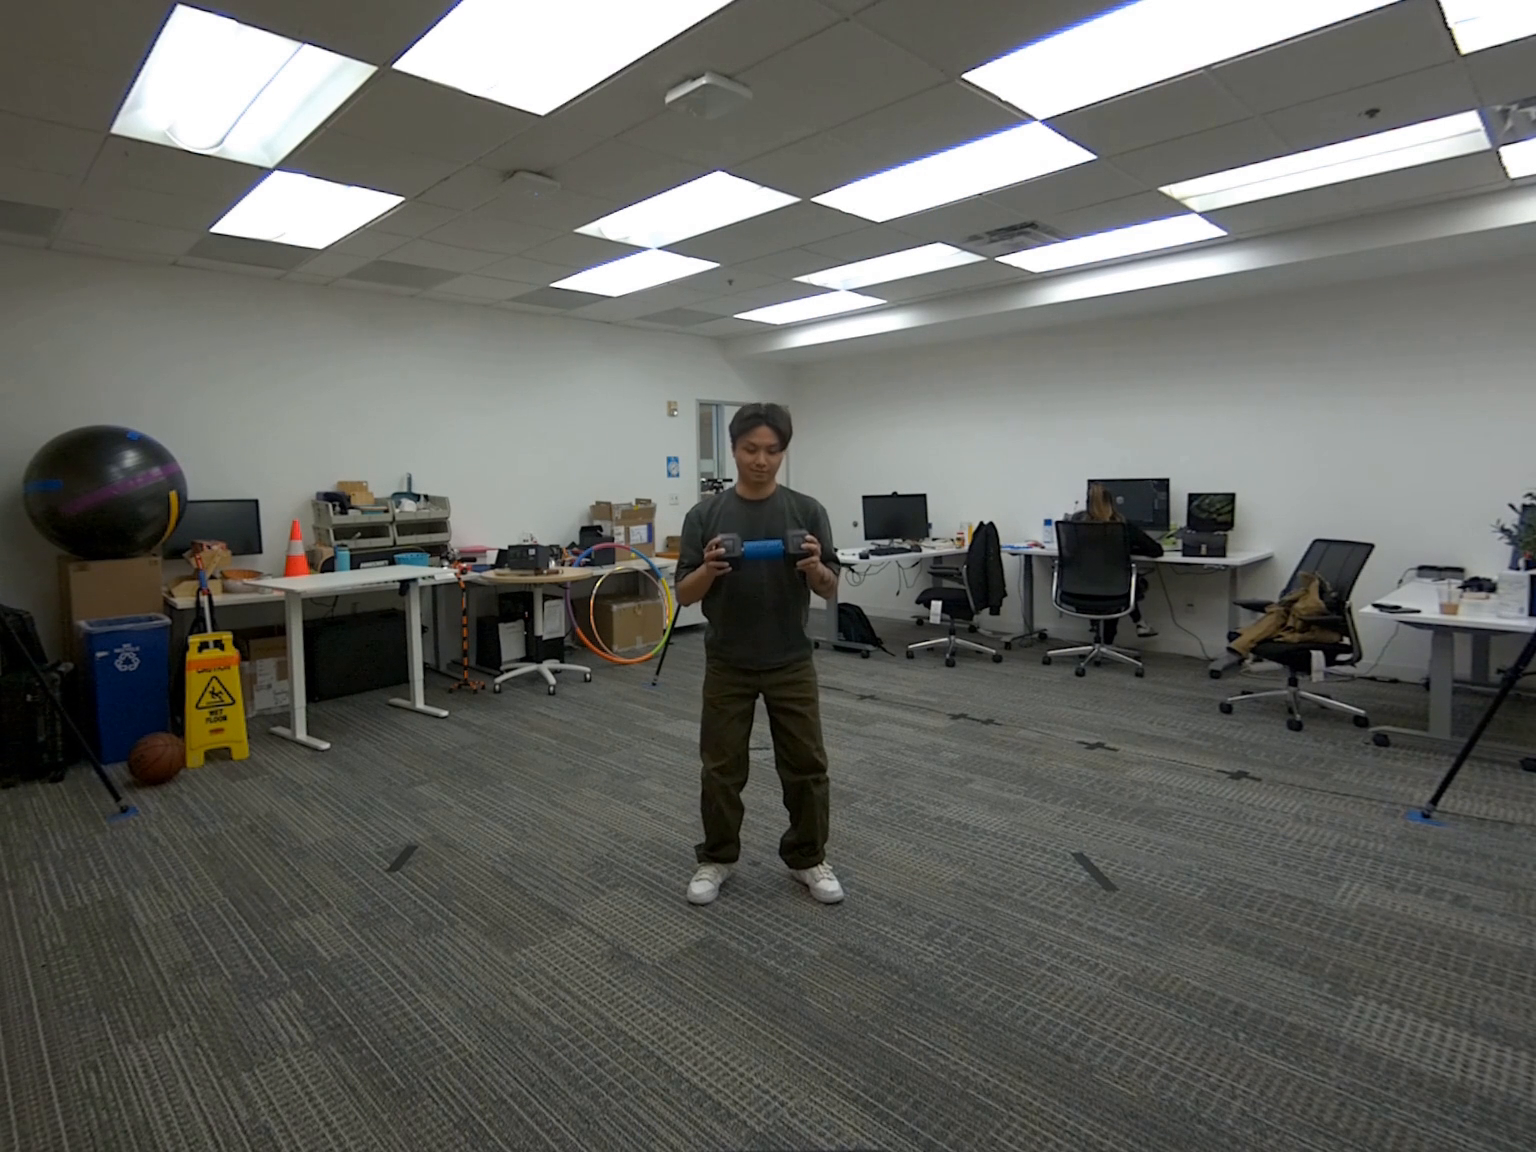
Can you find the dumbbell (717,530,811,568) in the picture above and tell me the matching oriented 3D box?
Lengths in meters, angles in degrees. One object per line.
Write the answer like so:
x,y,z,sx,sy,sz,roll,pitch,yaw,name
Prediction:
-0.031,-0.069,2.643,0.294,0.119,0.112,-5,41,1,dumbbell
